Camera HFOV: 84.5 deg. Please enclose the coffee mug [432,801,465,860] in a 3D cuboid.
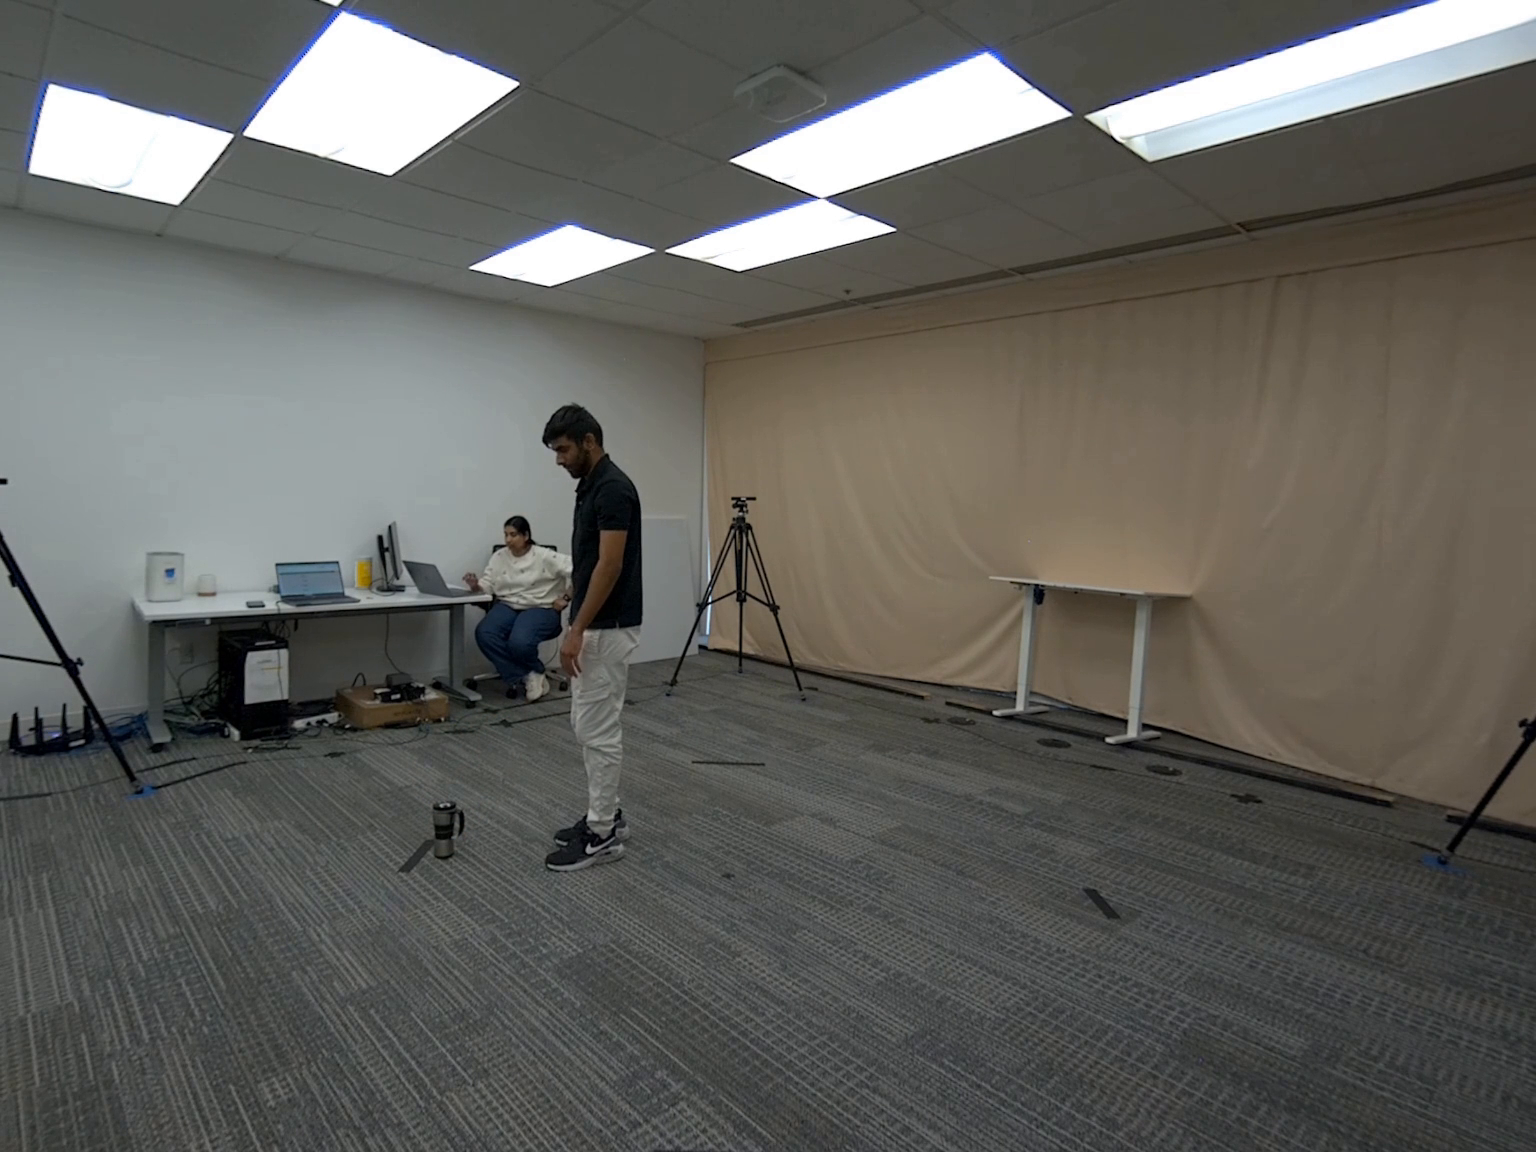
[{"bbox_3d":[-1.229,0.973,3.201,0.125,0.203,0.086,0,-2,42],"label":"coffee mug"}]
